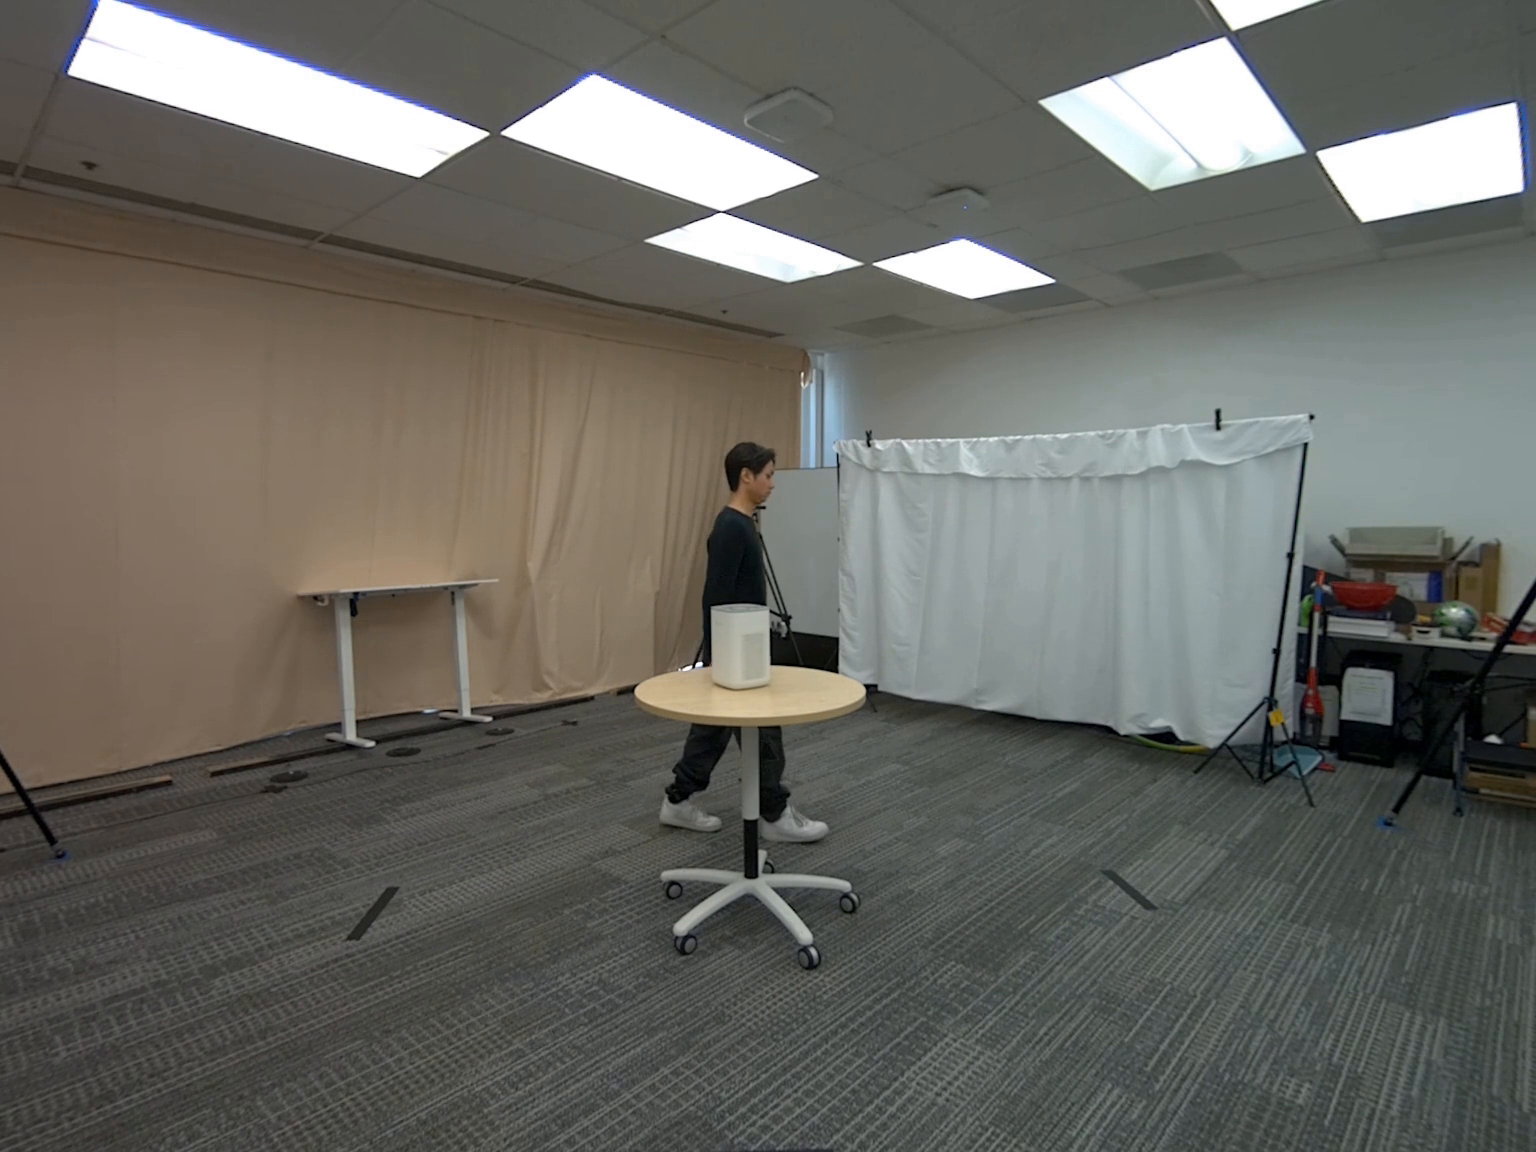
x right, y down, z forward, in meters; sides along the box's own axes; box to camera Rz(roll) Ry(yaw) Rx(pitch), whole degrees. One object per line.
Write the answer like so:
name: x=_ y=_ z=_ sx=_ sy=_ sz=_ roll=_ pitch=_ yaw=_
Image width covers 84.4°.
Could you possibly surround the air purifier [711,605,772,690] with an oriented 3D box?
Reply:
air purifier: x=-0.093 y=0.234 z=2.851 sx=0.167 sy=0.264 sz=0.176 roll=-5 pitch=5 yaw=-34
